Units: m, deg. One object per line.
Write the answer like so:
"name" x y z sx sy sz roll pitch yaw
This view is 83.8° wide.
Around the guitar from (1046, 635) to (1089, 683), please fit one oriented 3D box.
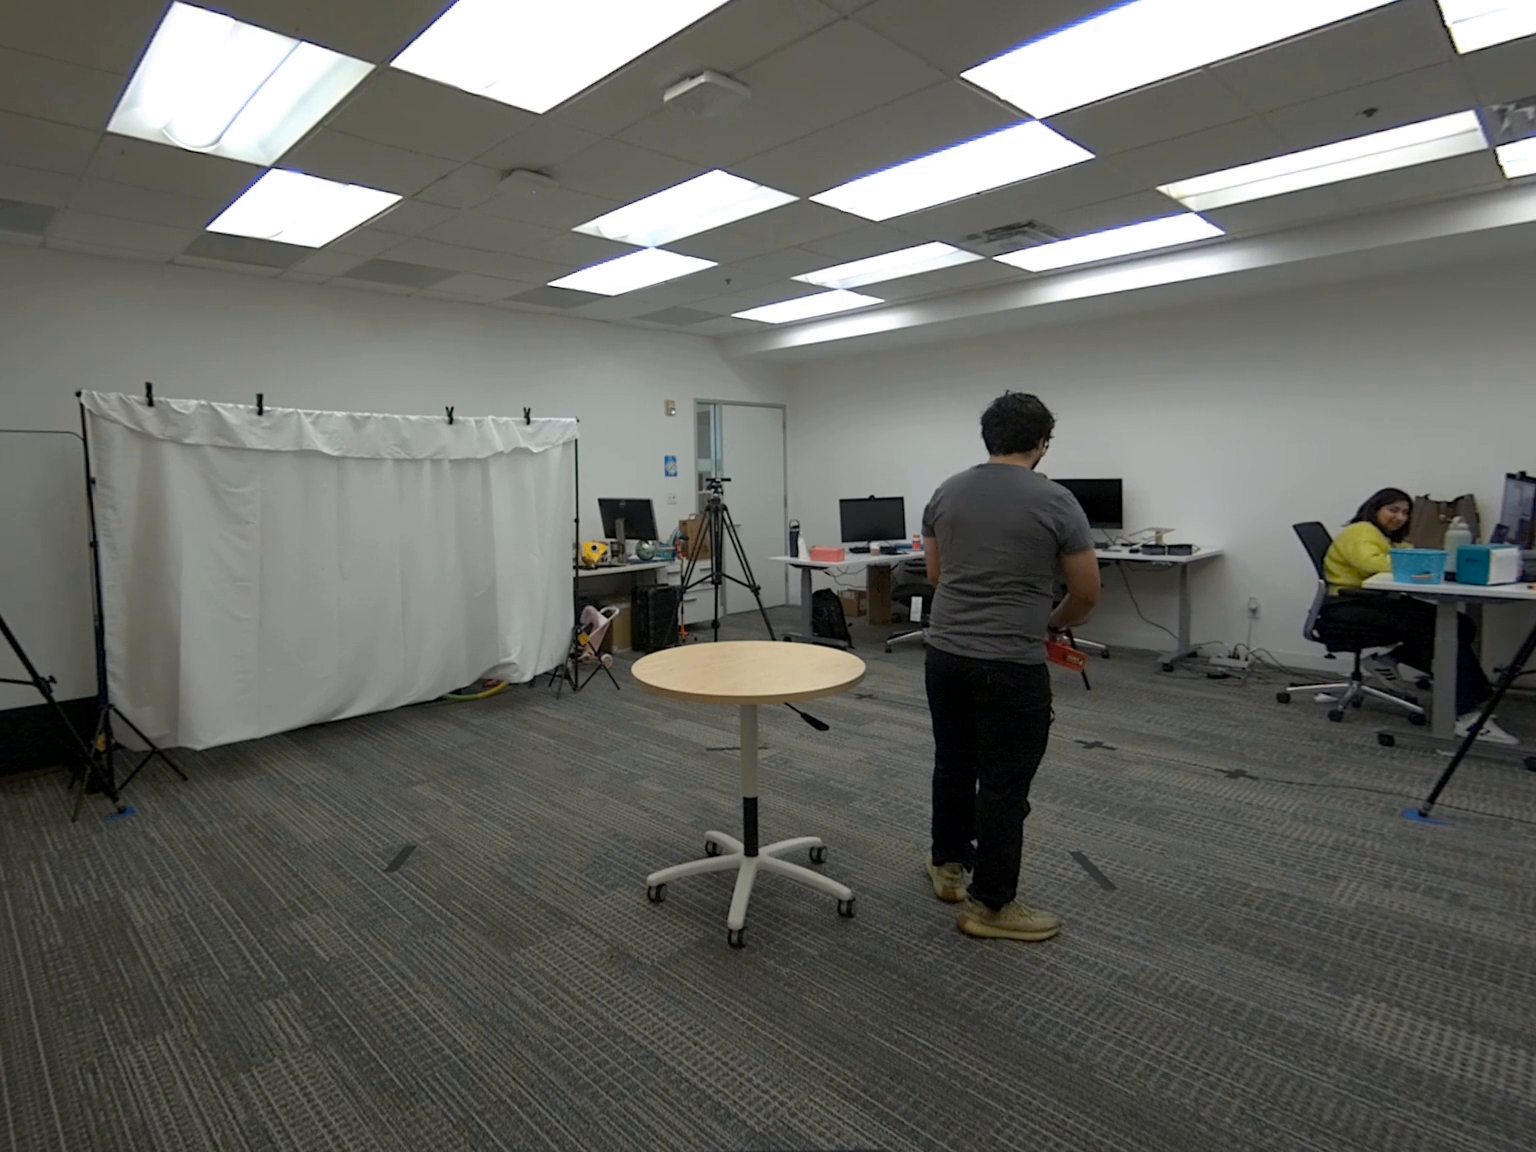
"guitar" 0.869 0.206 2.910 0.188 0.071 0.509 27 -3 -22
